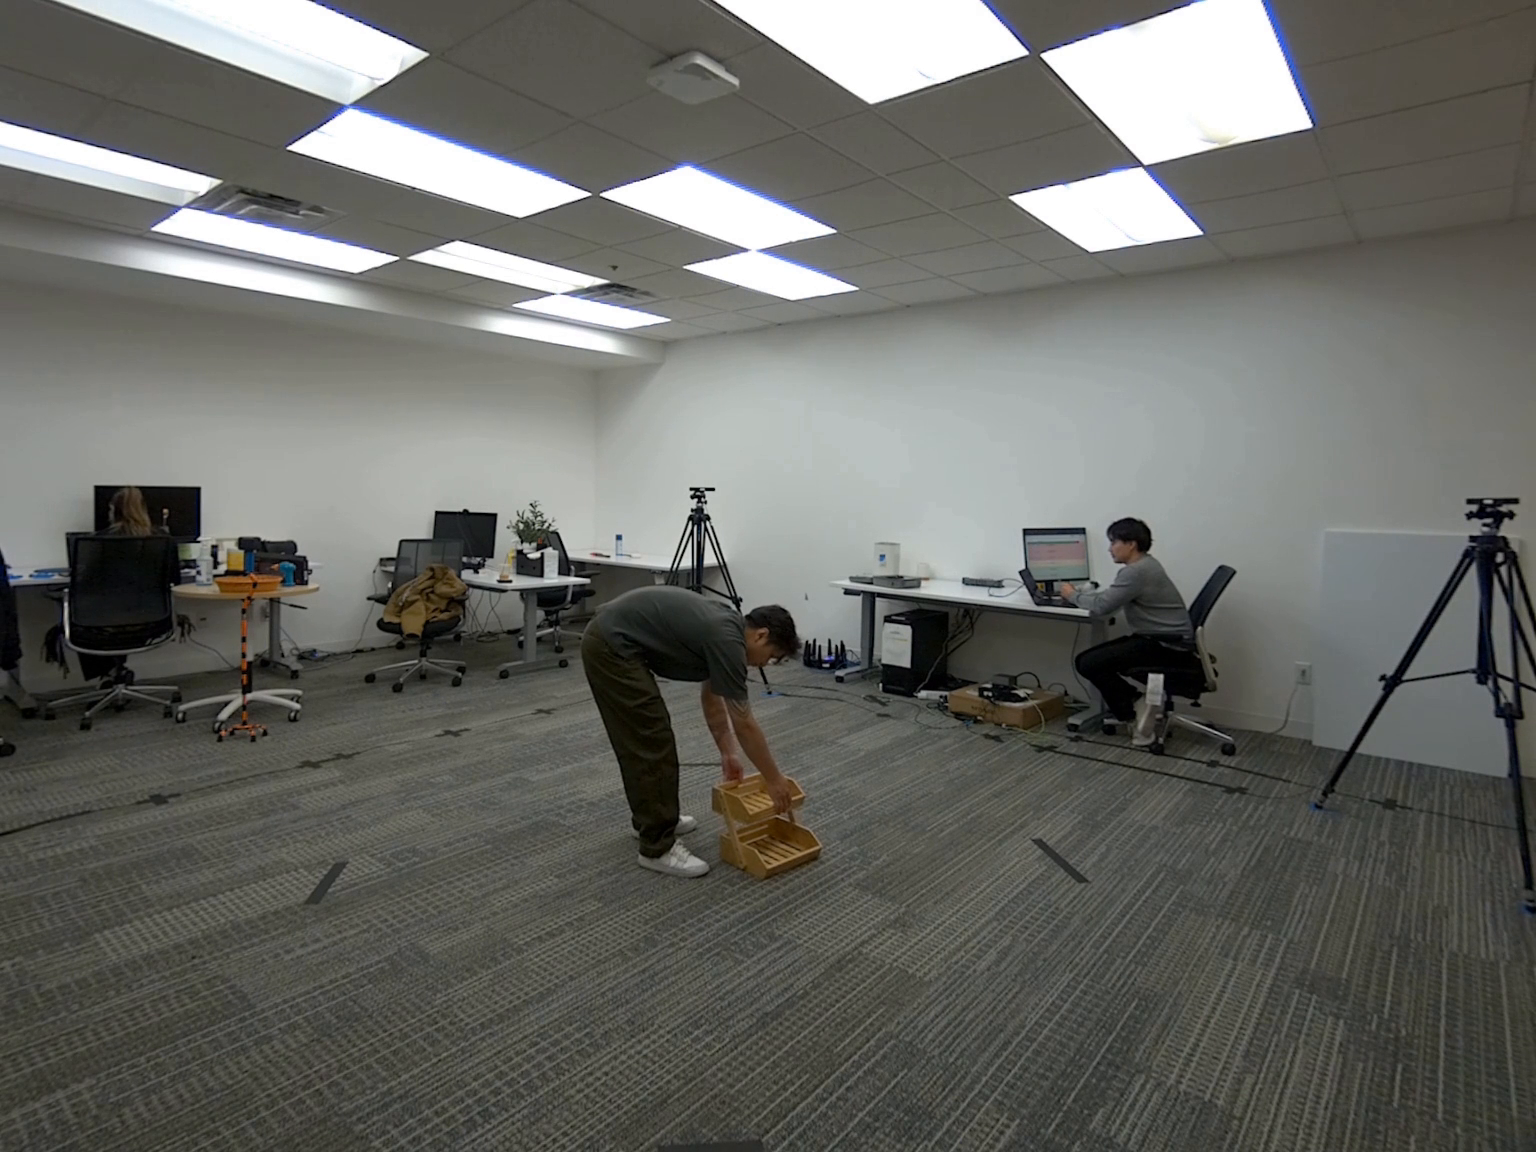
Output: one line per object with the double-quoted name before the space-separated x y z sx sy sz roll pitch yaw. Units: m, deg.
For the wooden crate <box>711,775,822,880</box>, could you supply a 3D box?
"wooden crate" -0.011 0.927 3.215 0.314 0.272 0.312 -3 5 -44
